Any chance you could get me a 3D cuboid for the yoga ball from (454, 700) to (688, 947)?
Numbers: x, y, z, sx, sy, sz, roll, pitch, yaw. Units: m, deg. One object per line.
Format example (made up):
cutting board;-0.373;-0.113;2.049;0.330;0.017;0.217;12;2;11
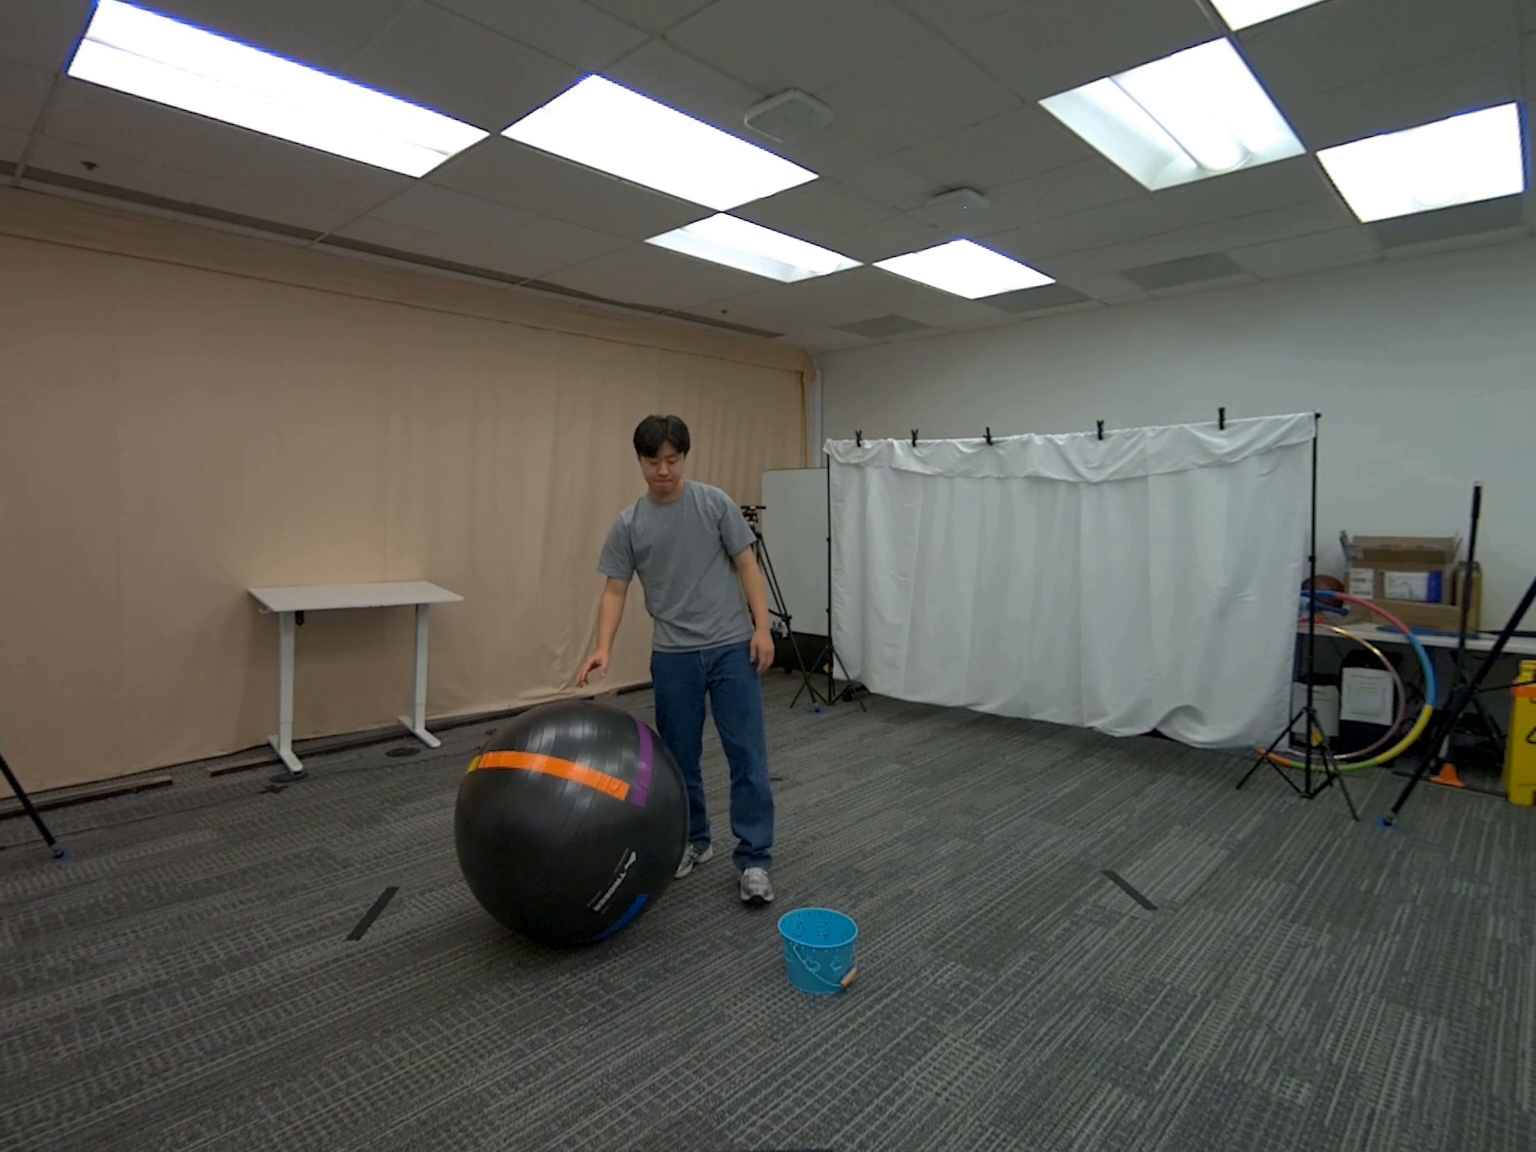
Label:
yoga ball;-0.661;0.800;2.760;0.757;0.756;0.760;0;4;-2
